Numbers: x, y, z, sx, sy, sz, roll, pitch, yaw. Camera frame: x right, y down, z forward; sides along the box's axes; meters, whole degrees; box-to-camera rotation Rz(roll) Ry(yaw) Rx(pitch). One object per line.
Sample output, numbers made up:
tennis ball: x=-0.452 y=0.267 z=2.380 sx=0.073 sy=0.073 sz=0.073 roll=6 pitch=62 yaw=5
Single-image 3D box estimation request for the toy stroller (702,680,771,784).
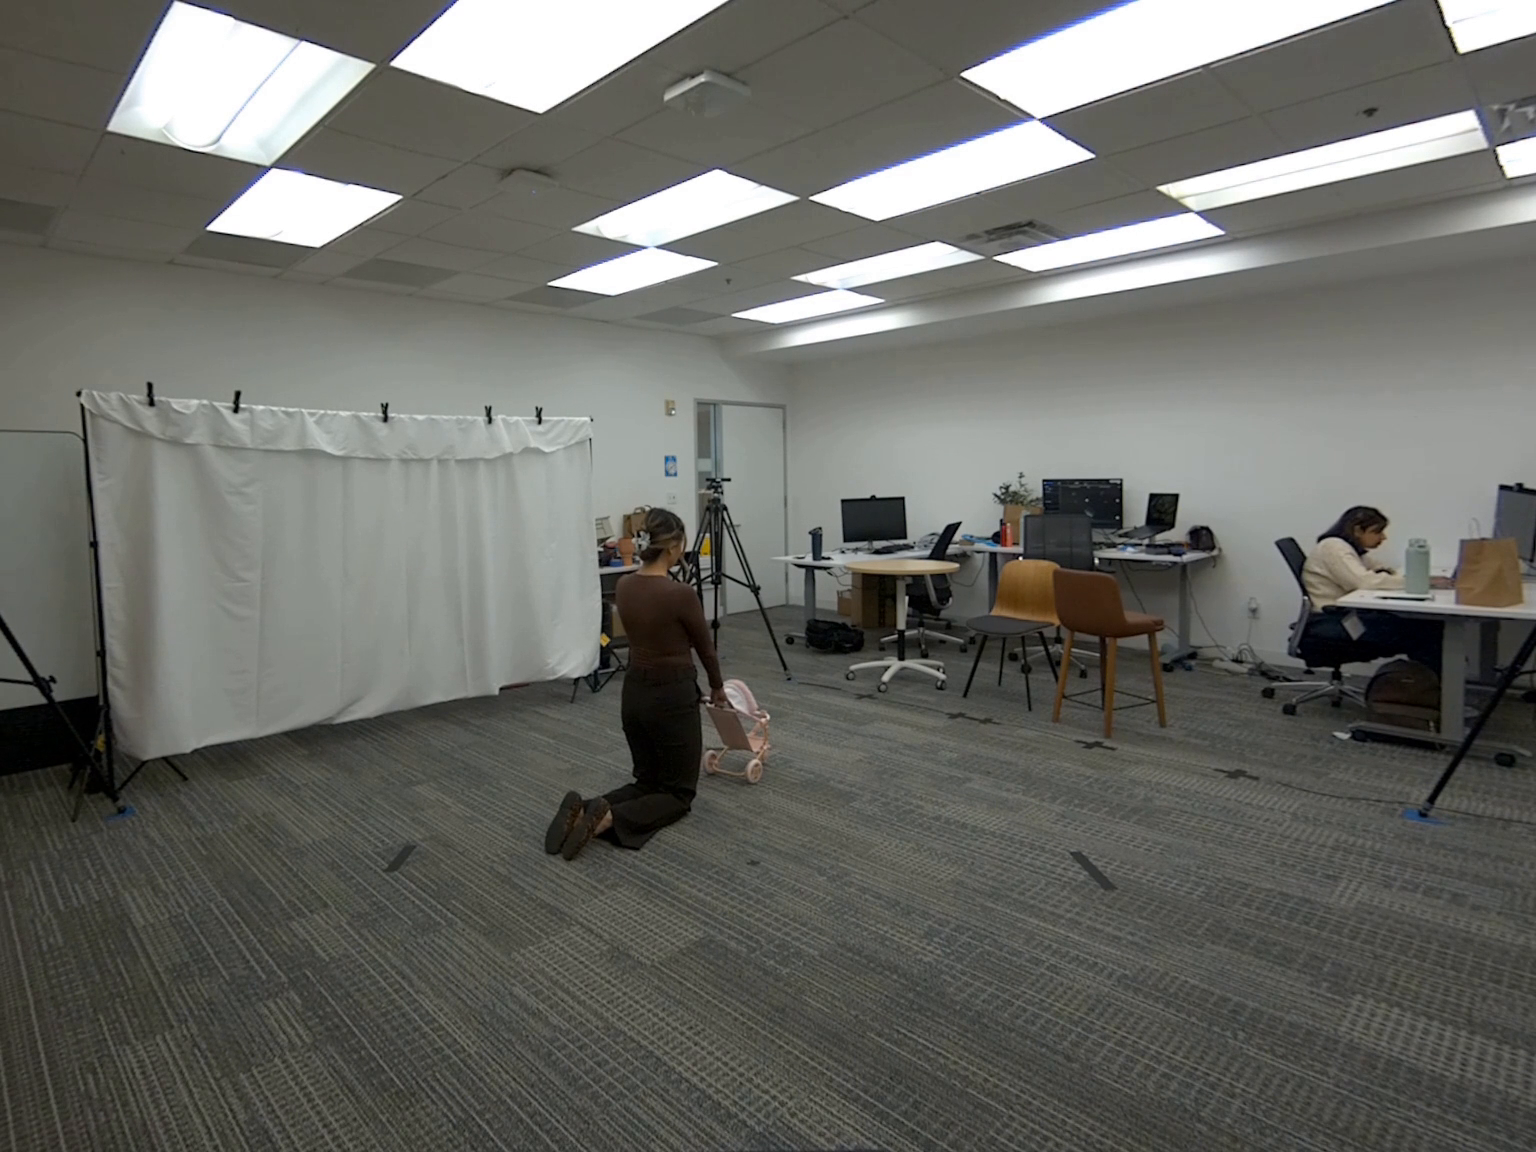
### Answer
toy stroller: x=-0.136 y=0.718 z=4.029 sx=0.290 sy=0.525 sz=0.337 roll=3 pitch=23 yaw=39
